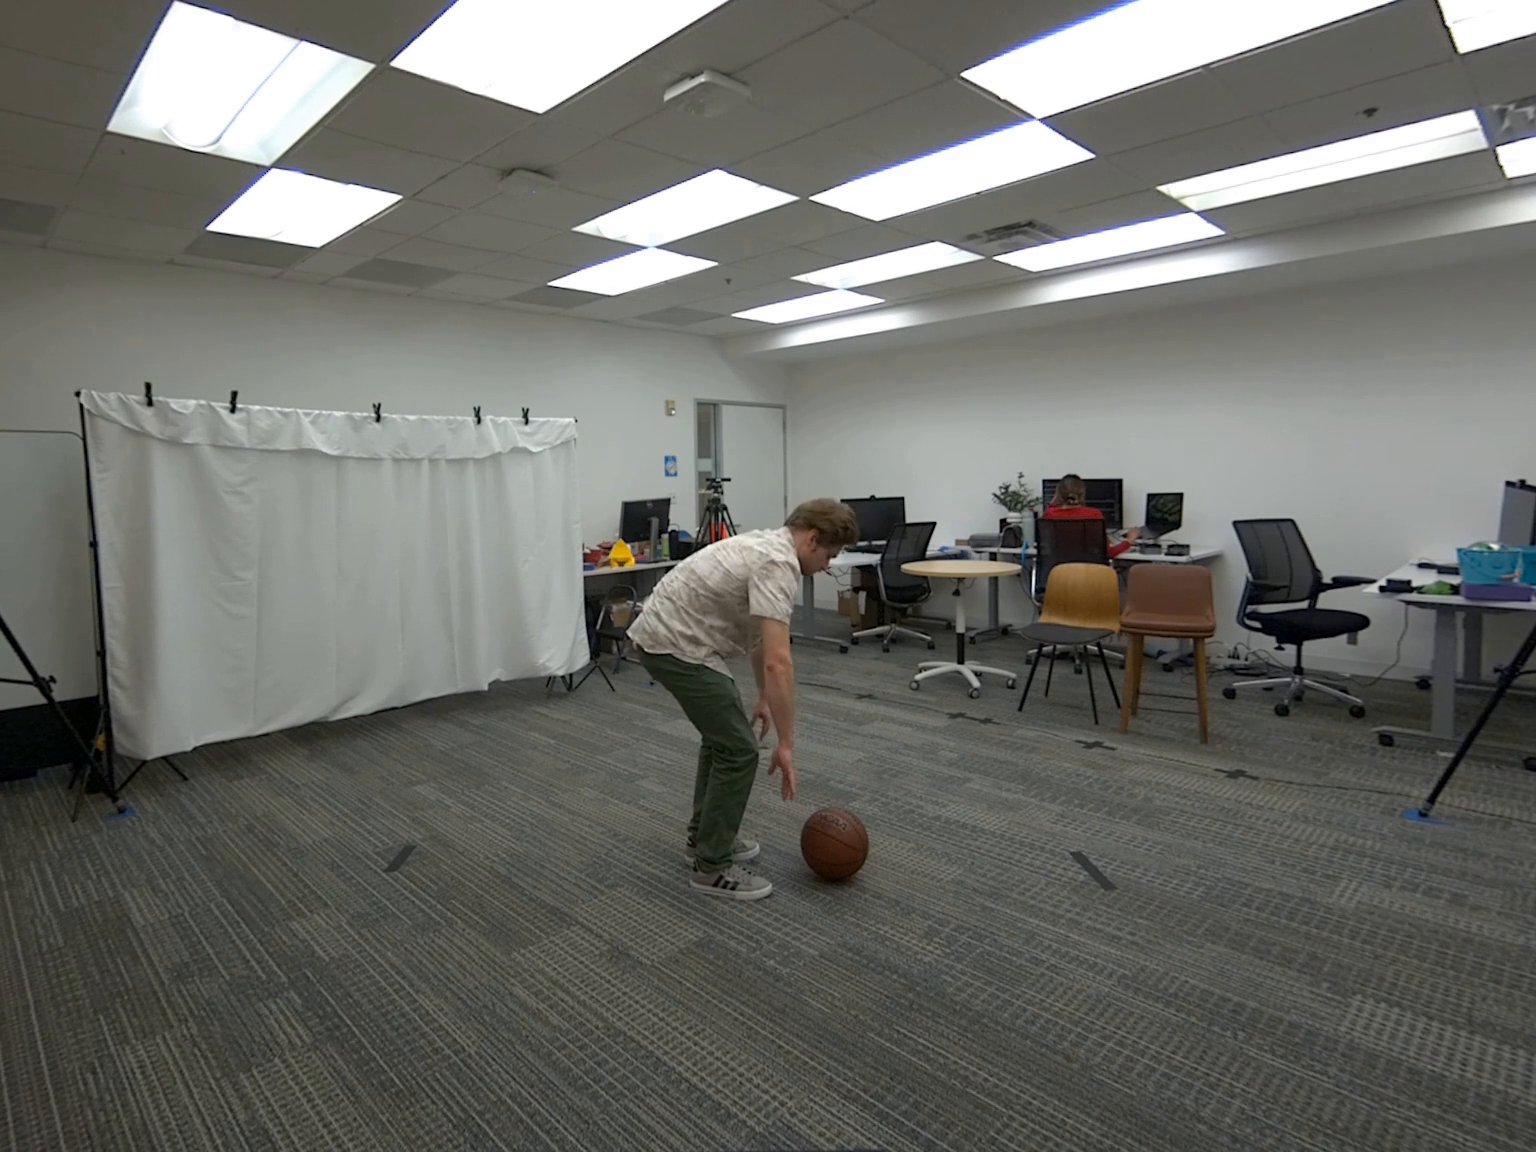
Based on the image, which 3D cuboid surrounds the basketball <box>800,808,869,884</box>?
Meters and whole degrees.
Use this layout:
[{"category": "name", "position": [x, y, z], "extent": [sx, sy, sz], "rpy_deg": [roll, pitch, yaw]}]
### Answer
[{"category": "basketball", "position": [0.236, 0.928, 2.975], "extent": [0.236, 0.235, 0.237], "rpy_deg": [-1, 5, -2]}]
